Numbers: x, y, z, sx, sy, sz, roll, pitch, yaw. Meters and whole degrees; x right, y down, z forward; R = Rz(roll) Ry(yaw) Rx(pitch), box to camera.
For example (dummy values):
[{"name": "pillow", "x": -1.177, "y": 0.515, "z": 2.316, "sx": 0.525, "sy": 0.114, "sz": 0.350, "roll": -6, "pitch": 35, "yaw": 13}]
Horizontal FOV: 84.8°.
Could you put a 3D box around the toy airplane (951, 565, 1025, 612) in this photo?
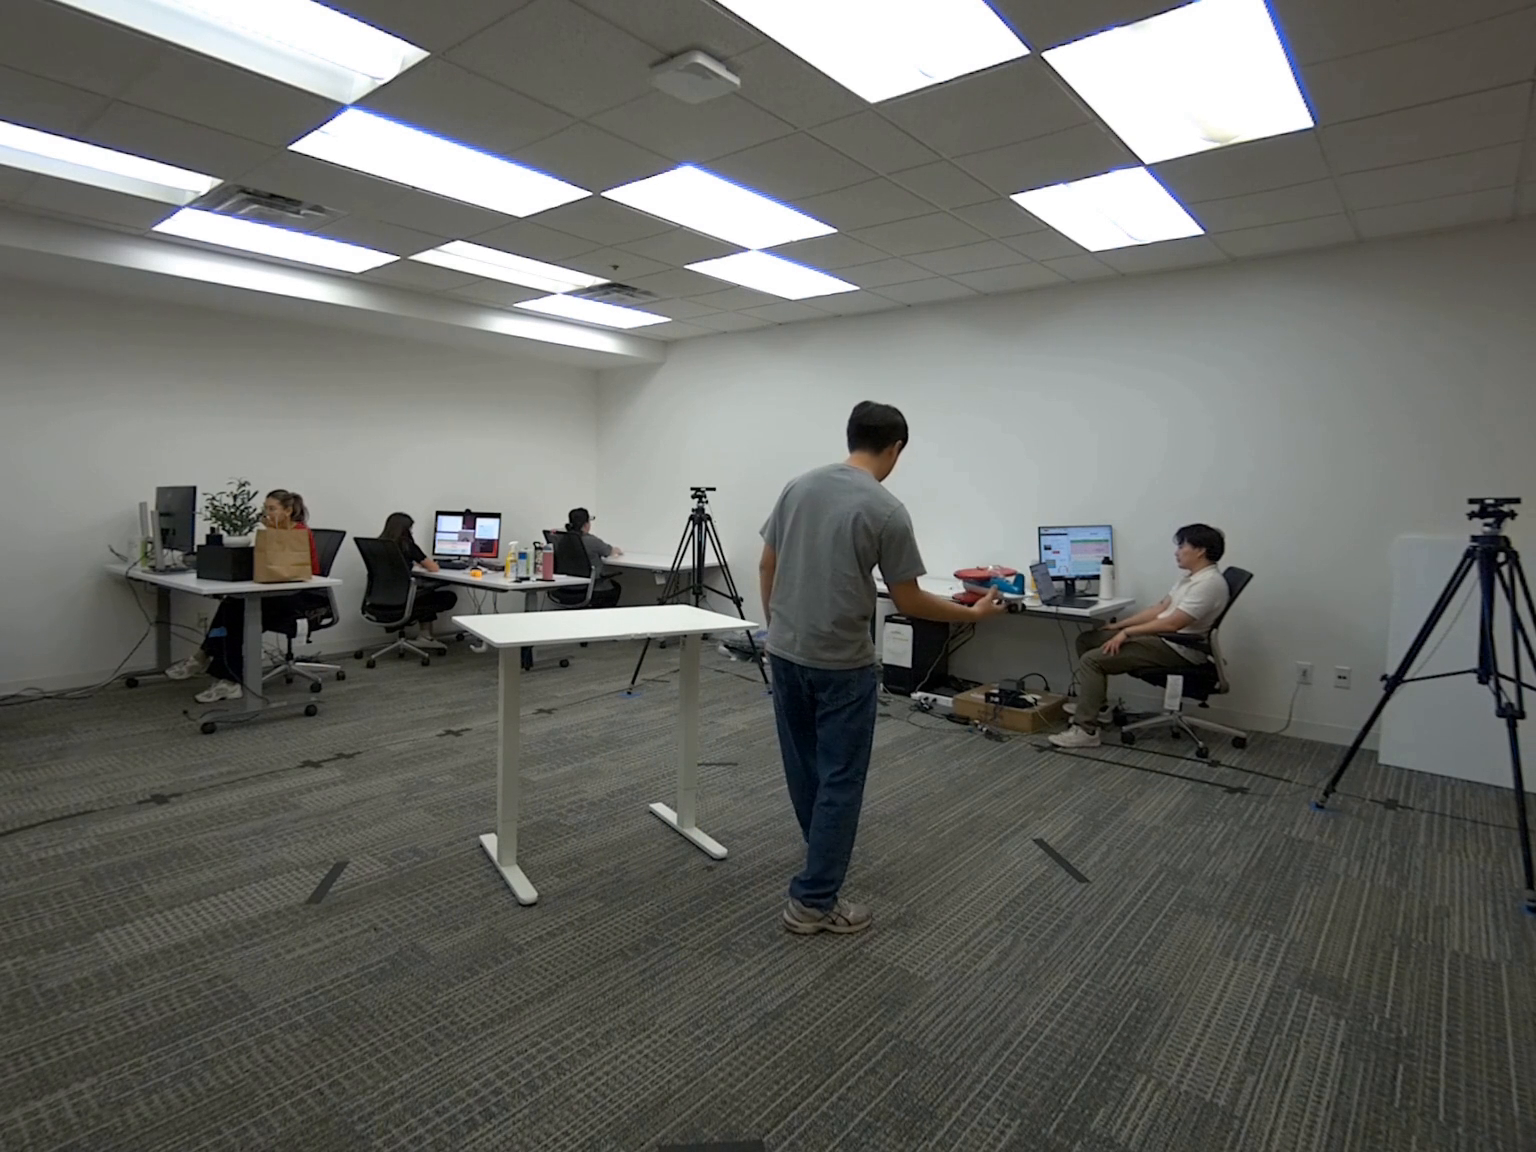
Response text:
[{"name": "toy airplane", "x": 0.765, "y": 0.051, "z": 2.854, "sx": 0.266, "sy": 0.157, "sz": 0.244, "roll": -5, "pitch": 0, "yaw": 32}]
